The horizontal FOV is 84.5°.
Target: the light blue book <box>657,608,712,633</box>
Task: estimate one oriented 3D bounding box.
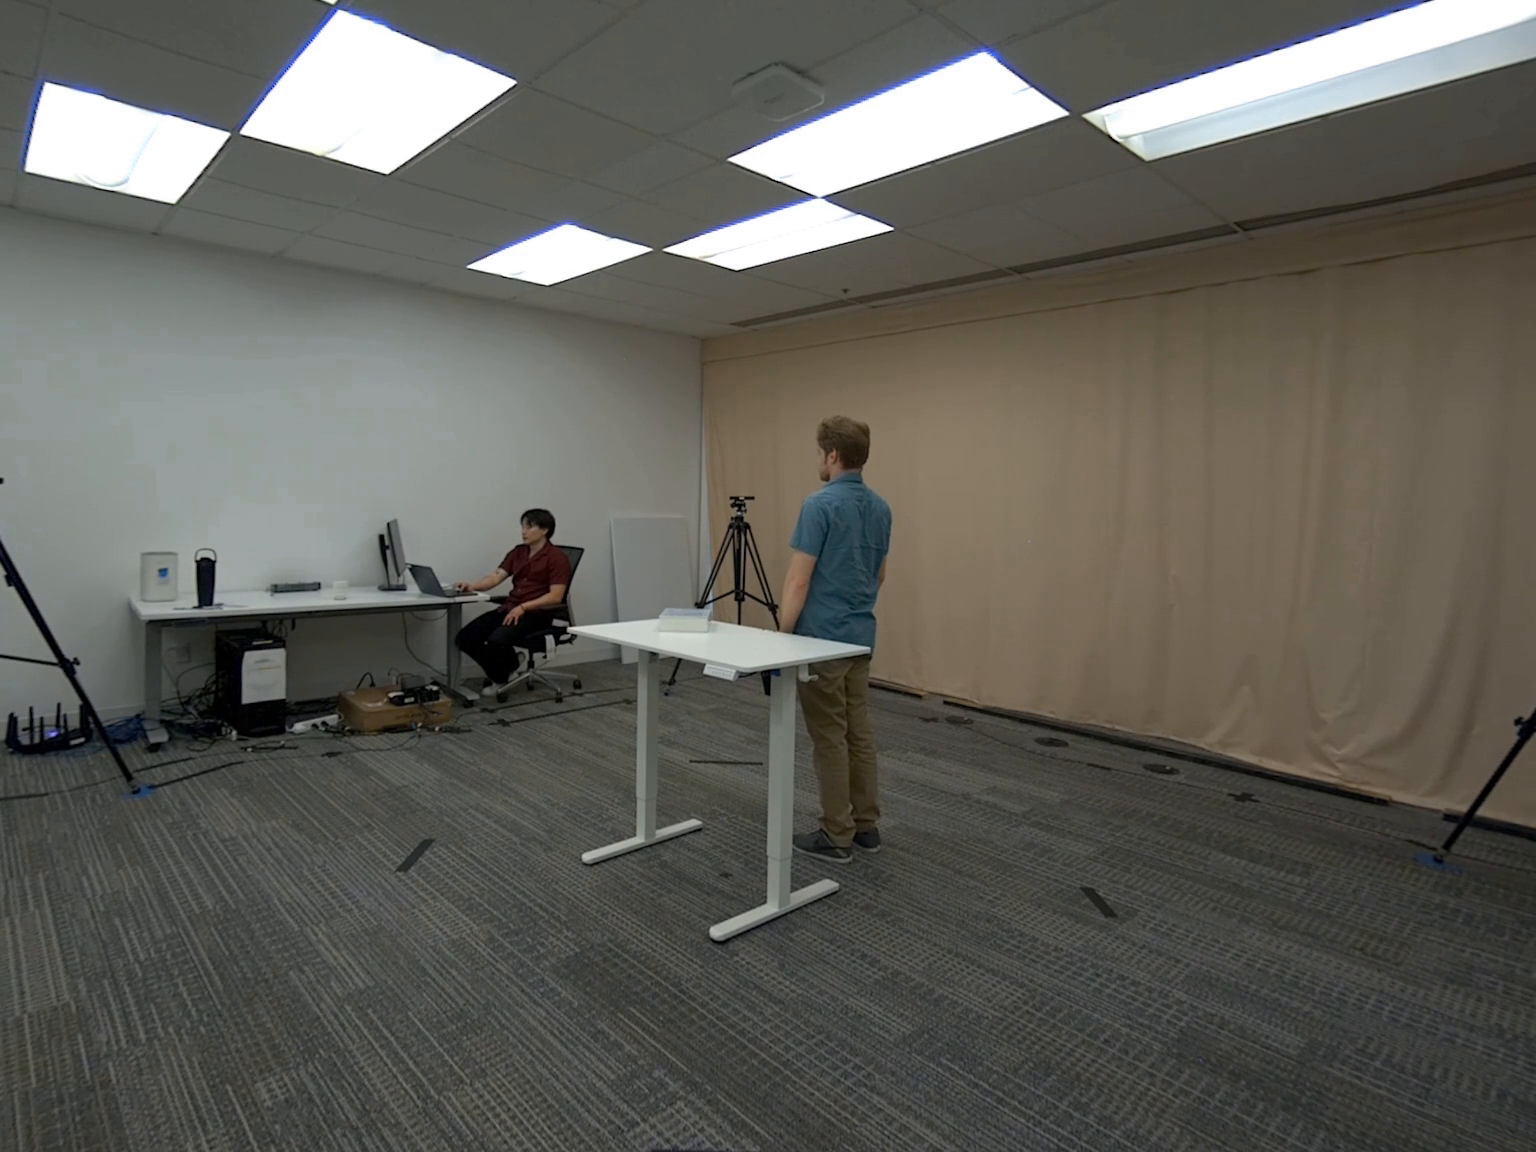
[{"bbox_3d":[-0.330,0.174,3.299,0.191,0.059,0.262,1,5,-1],"label":"light blue book"}]
